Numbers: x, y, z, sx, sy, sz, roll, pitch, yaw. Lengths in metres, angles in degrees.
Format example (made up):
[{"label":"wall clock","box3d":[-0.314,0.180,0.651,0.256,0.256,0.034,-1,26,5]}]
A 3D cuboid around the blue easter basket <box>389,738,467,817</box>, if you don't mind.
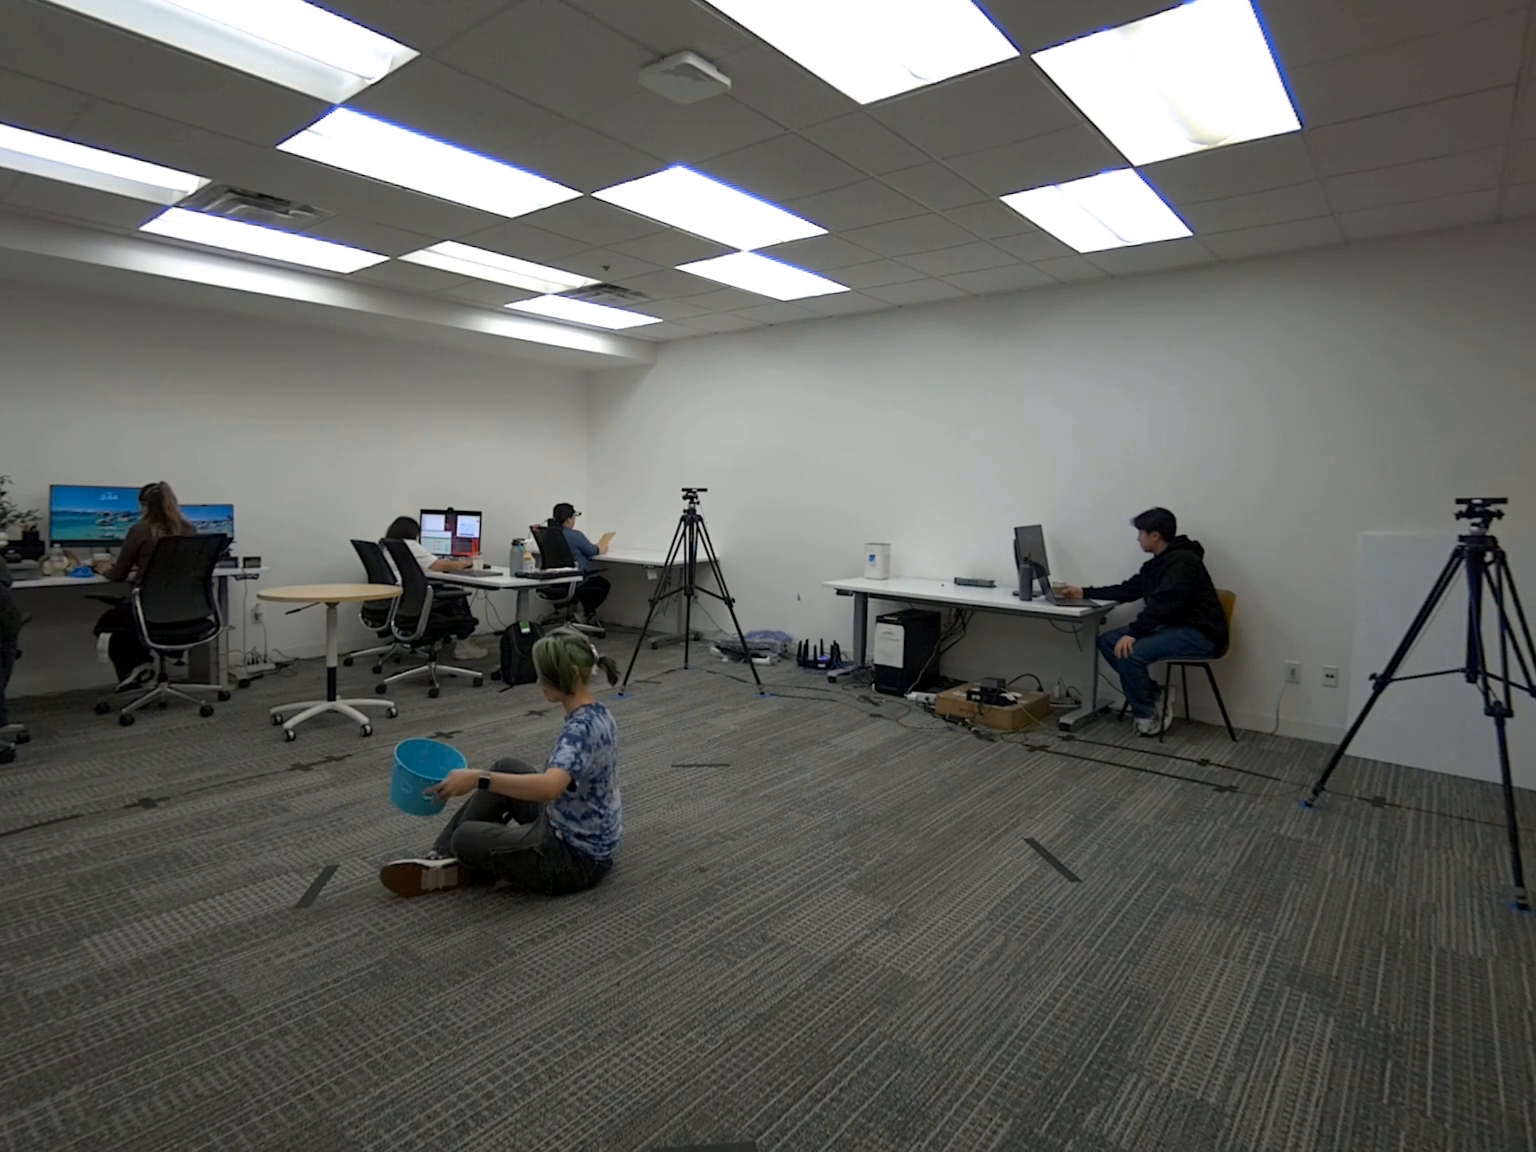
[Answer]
[{"label":"blue easter basket","box3d":[-1.106,0.652,2.727,0.242,0.155,0.247,20,11,-6]}]
